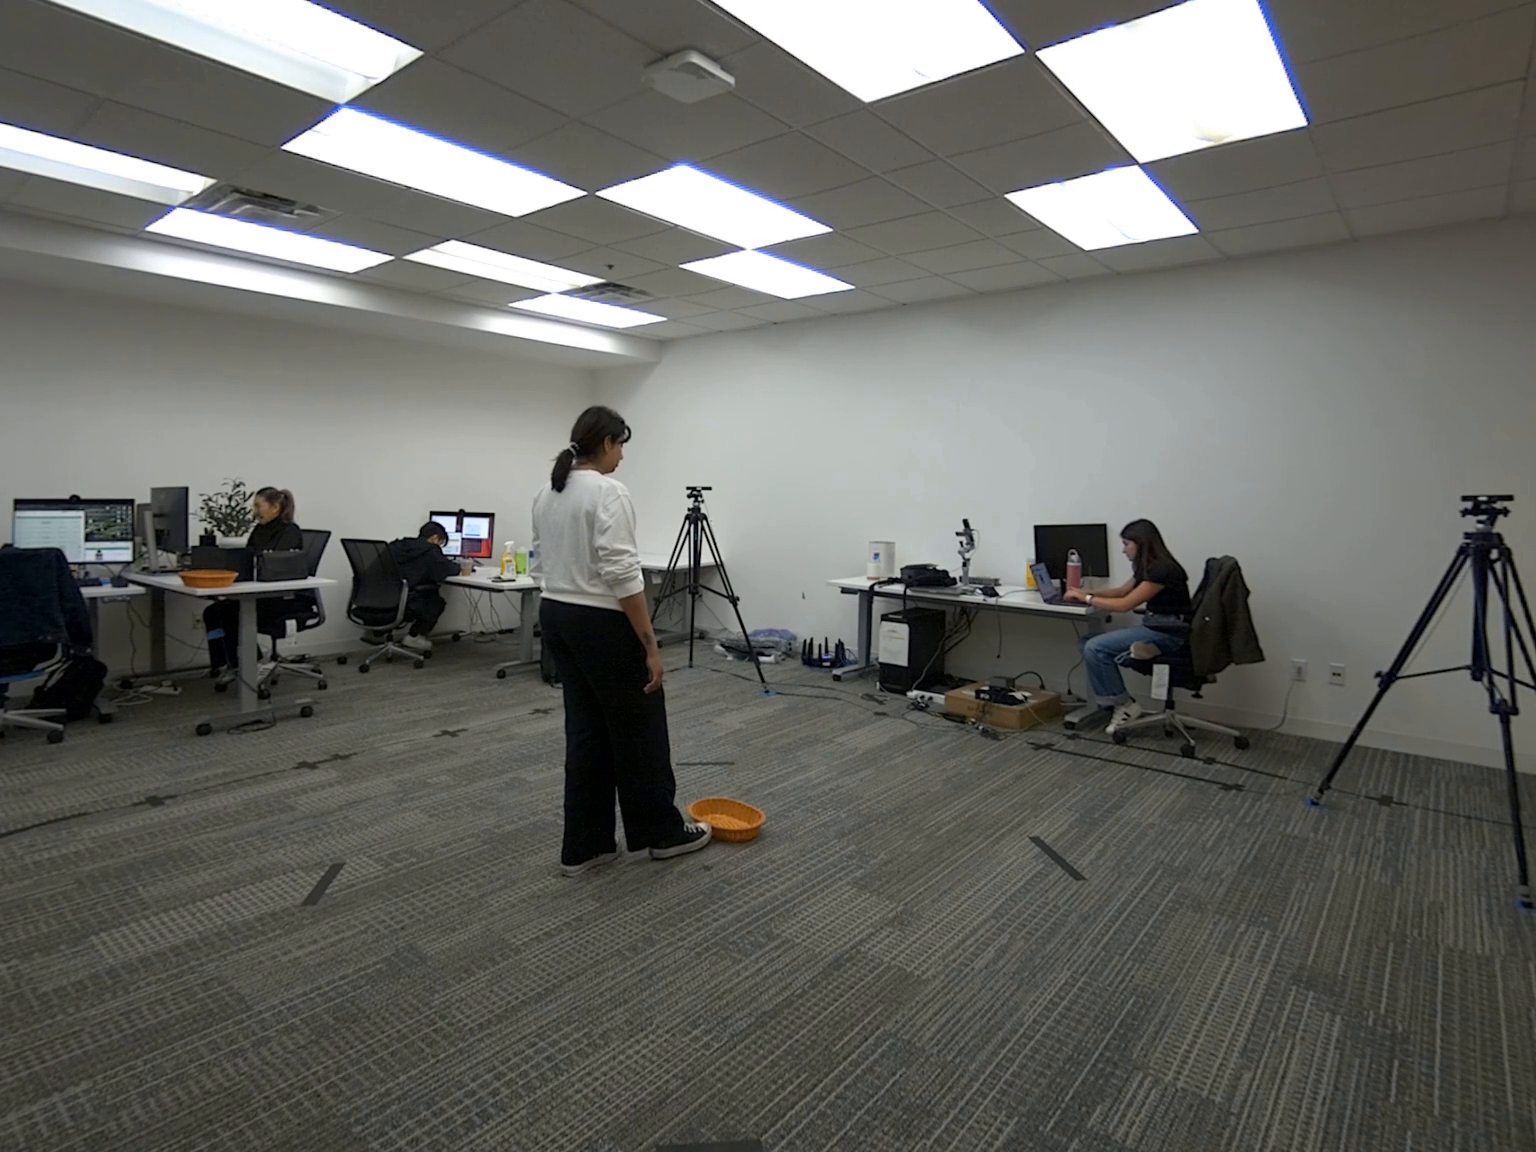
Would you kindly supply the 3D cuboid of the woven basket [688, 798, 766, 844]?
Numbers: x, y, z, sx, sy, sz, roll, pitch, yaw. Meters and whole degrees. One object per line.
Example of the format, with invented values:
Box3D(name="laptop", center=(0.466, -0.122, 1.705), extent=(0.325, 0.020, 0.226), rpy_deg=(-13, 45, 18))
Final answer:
Box3D(name="woven basket", center=(-0.178, 0.990, 3.455), extent=(0.362, 0.073, 0.245), rpy_deg=(6, 9, 44))
